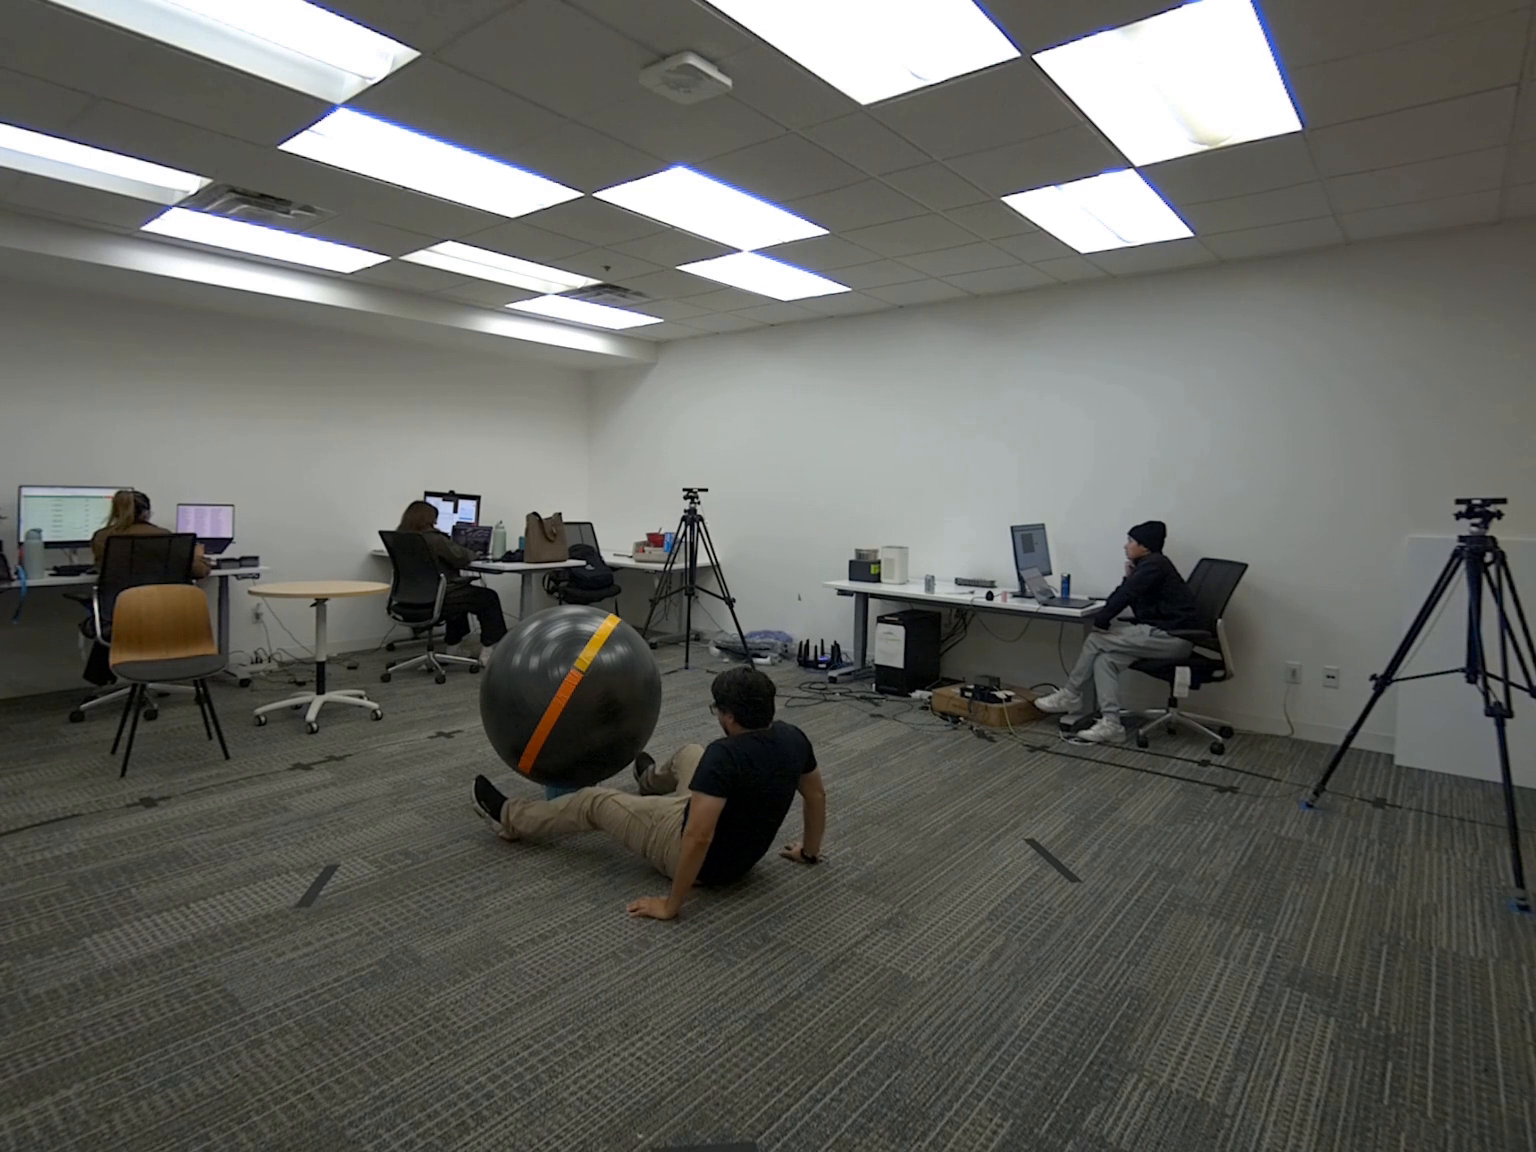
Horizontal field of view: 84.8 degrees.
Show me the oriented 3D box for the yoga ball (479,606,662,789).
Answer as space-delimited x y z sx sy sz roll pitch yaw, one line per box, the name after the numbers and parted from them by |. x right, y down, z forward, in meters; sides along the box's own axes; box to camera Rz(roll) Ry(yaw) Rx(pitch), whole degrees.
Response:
-0.844 0.505 3.597 0.757 0.755 0.762 1 4 -2 | yoga ball
